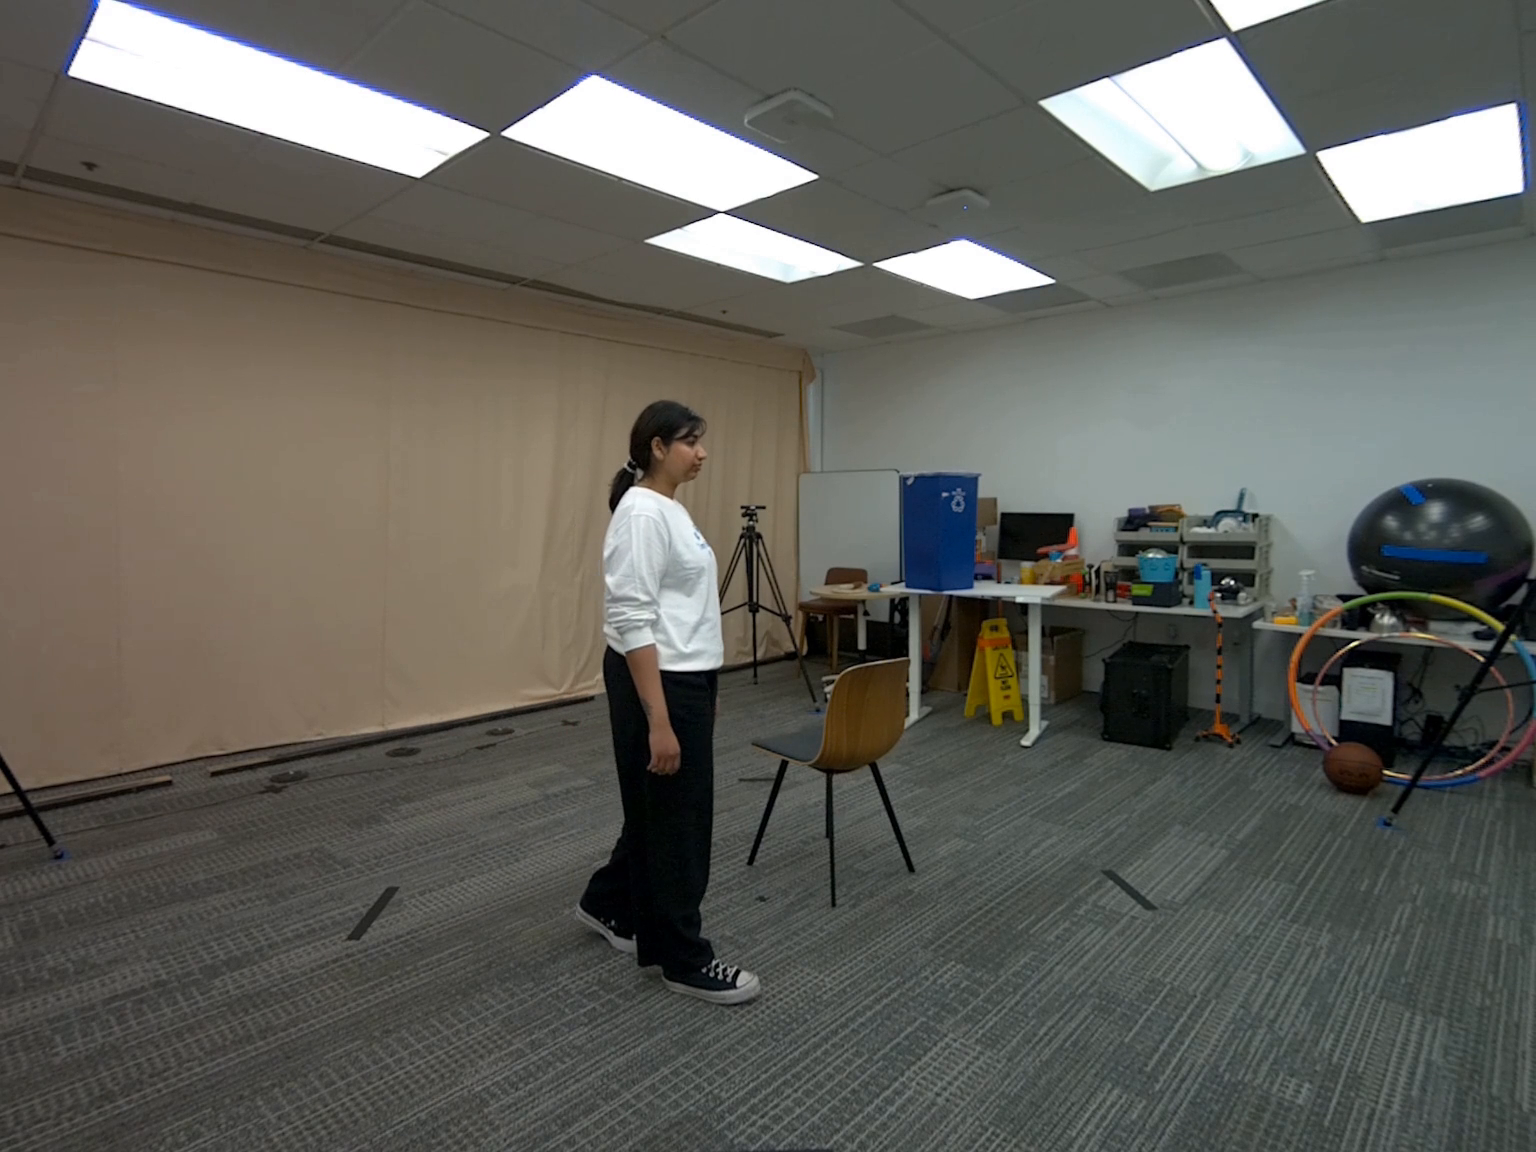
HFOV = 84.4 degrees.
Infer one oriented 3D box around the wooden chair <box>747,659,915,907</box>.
[{"bbox_3d":[0.238,0.695,3.204,0.463,0.874,0.541,-3,9,-41],"label":"wooden chair"}]
